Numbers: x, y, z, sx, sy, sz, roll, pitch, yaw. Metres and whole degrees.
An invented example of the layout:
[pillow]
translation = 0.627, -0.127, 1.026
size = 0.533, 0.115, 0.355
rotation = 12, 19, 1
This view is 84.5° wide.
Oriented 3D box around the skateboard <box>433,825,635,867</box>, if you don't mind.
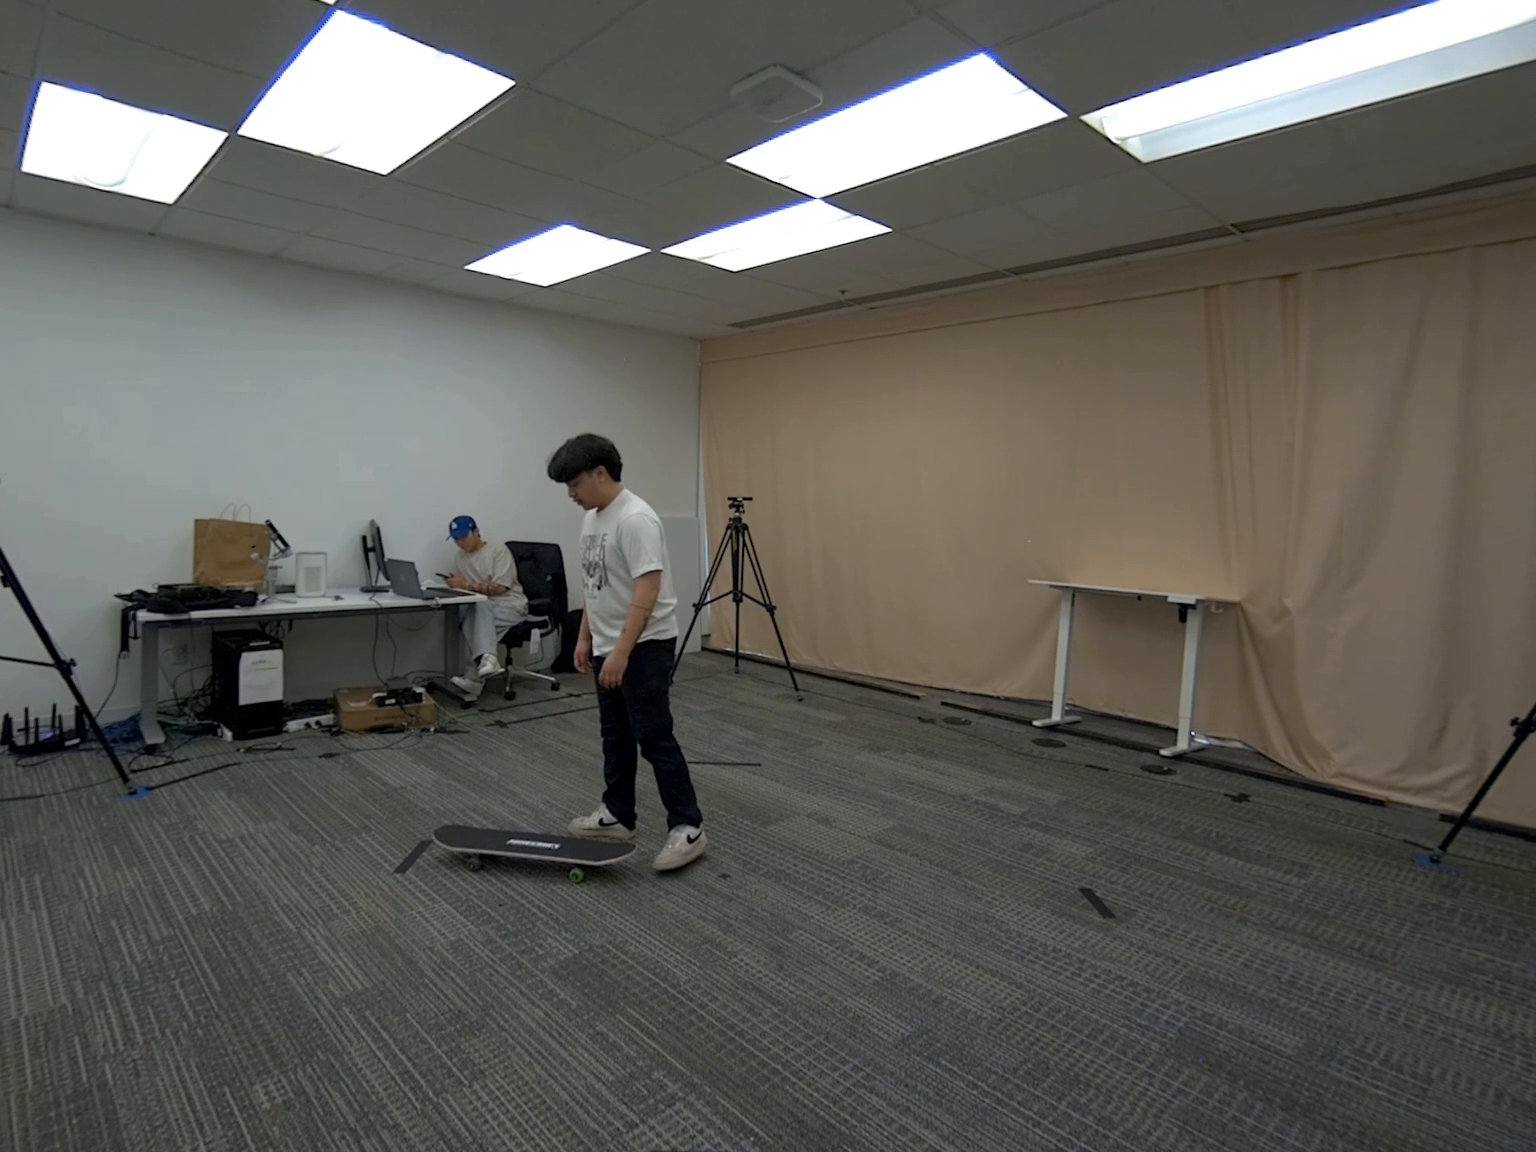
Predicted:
[skateboard]
translation = -0.877, 1.032, 3.133
size = 0.792, 0.110, 0.192
rotation = 2, 6, 11
